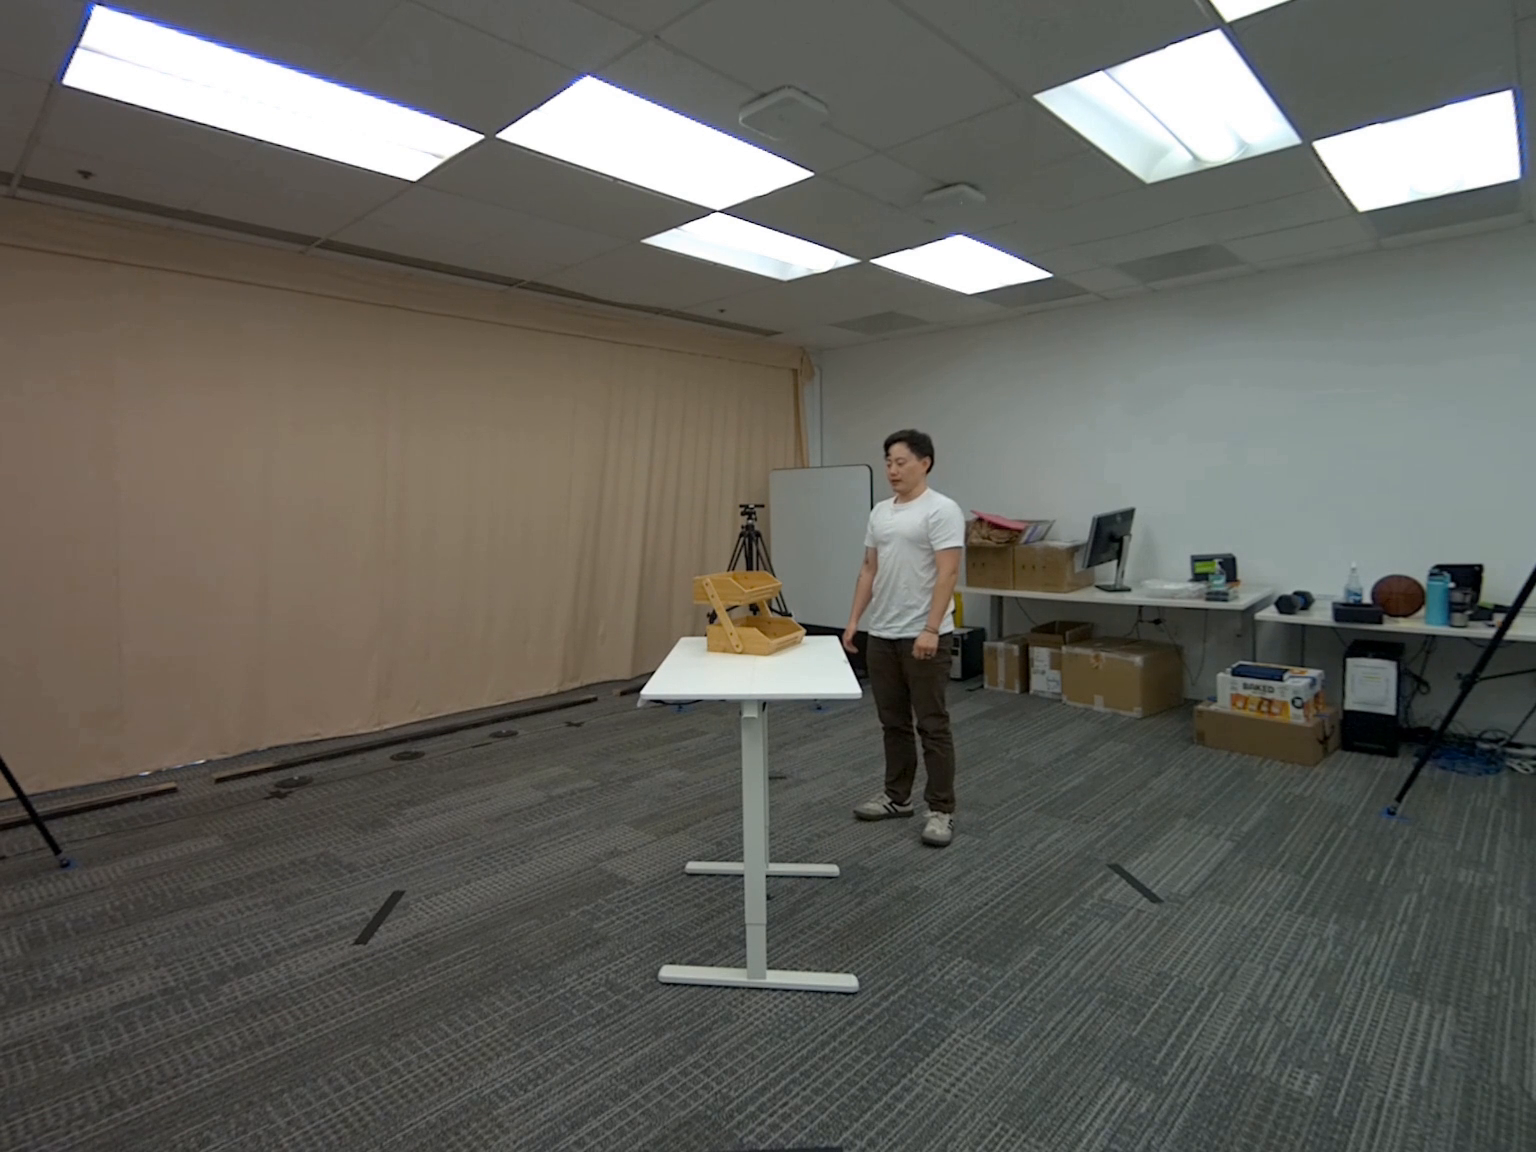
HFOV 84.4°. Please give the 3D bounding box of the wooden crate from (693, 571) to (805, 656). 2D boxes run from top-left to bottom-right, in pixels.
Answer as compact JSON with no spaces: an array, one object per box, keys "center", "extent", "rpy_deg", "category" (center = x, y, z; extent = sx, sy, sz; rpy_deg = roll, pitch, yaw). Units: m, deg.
[{"center":[-0.064,0.124,3.021],"extent":[0.310,0.273,0.317],"rpy_deg":[0,4,27],"category":"wooden crate"}]
